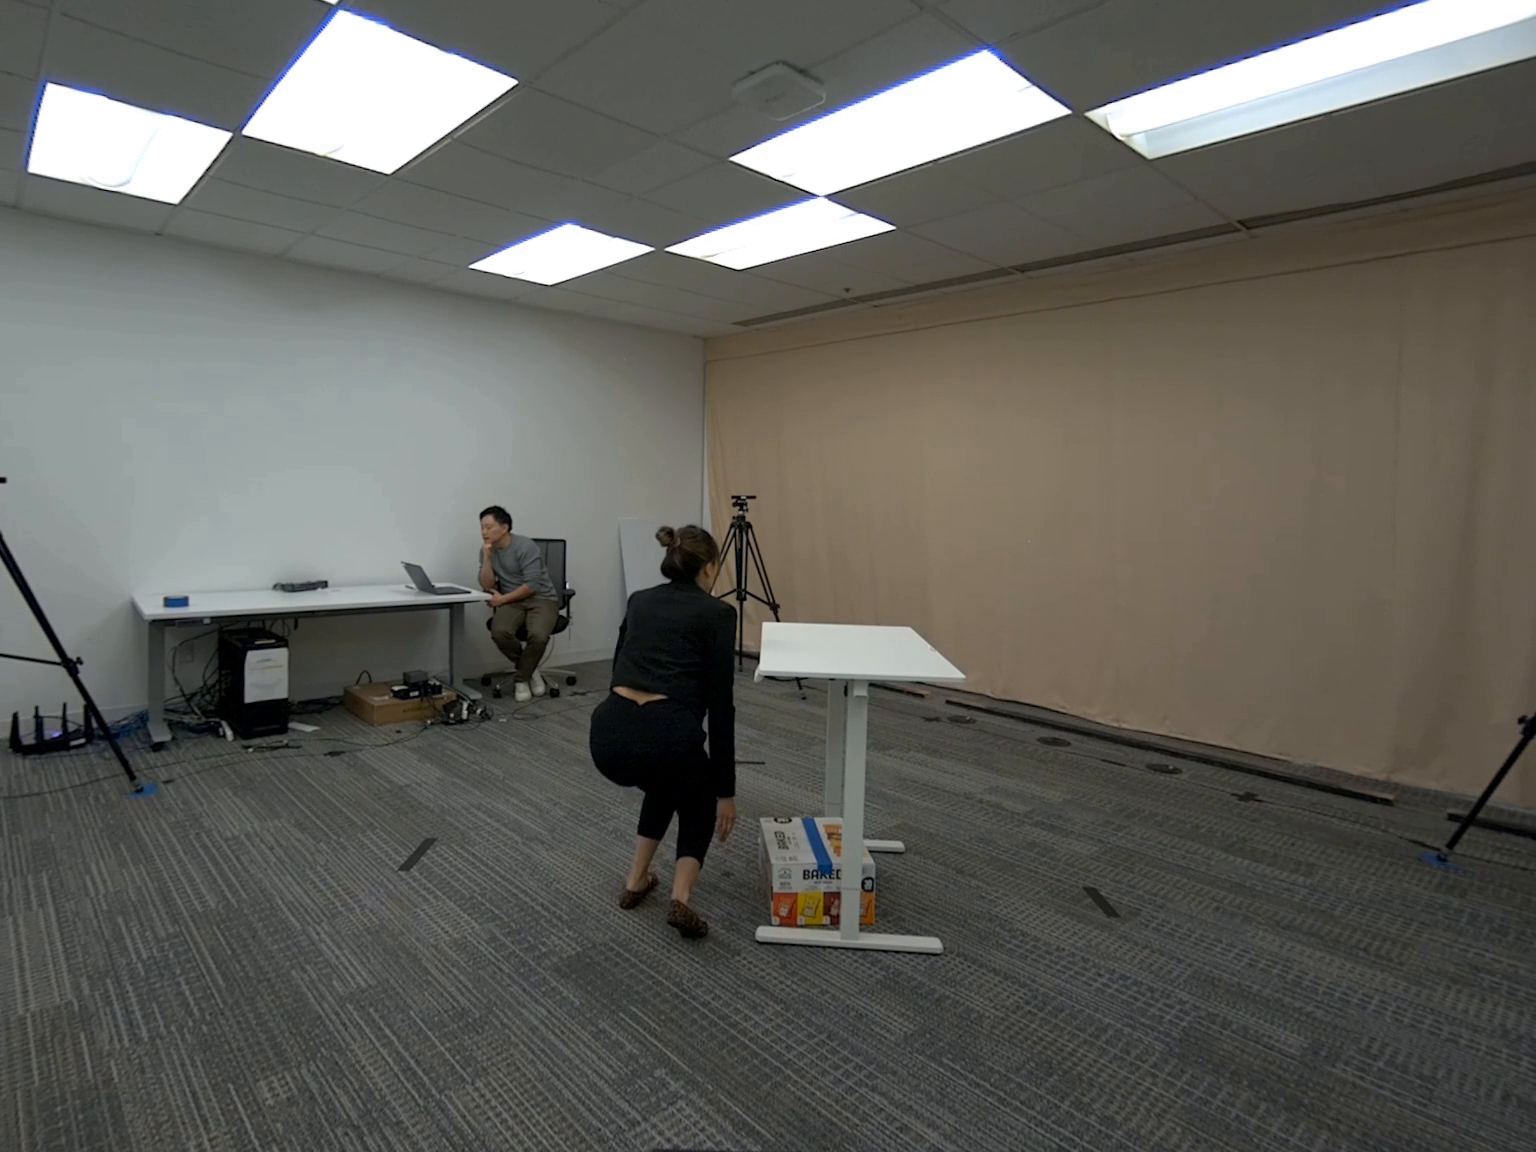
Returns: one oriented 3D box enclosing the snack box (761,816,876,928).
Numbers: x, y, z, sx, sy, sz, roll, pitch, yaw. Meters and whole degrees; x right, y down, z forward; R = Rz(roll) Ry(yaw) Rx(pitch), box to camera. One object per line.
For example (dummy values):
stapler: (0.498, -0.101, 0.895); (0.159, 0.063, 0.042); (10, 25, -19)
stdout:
snack box: (0.144, 1.023, 2.939); (0.339, 0.205, 0.408); (1, 5, -5)
